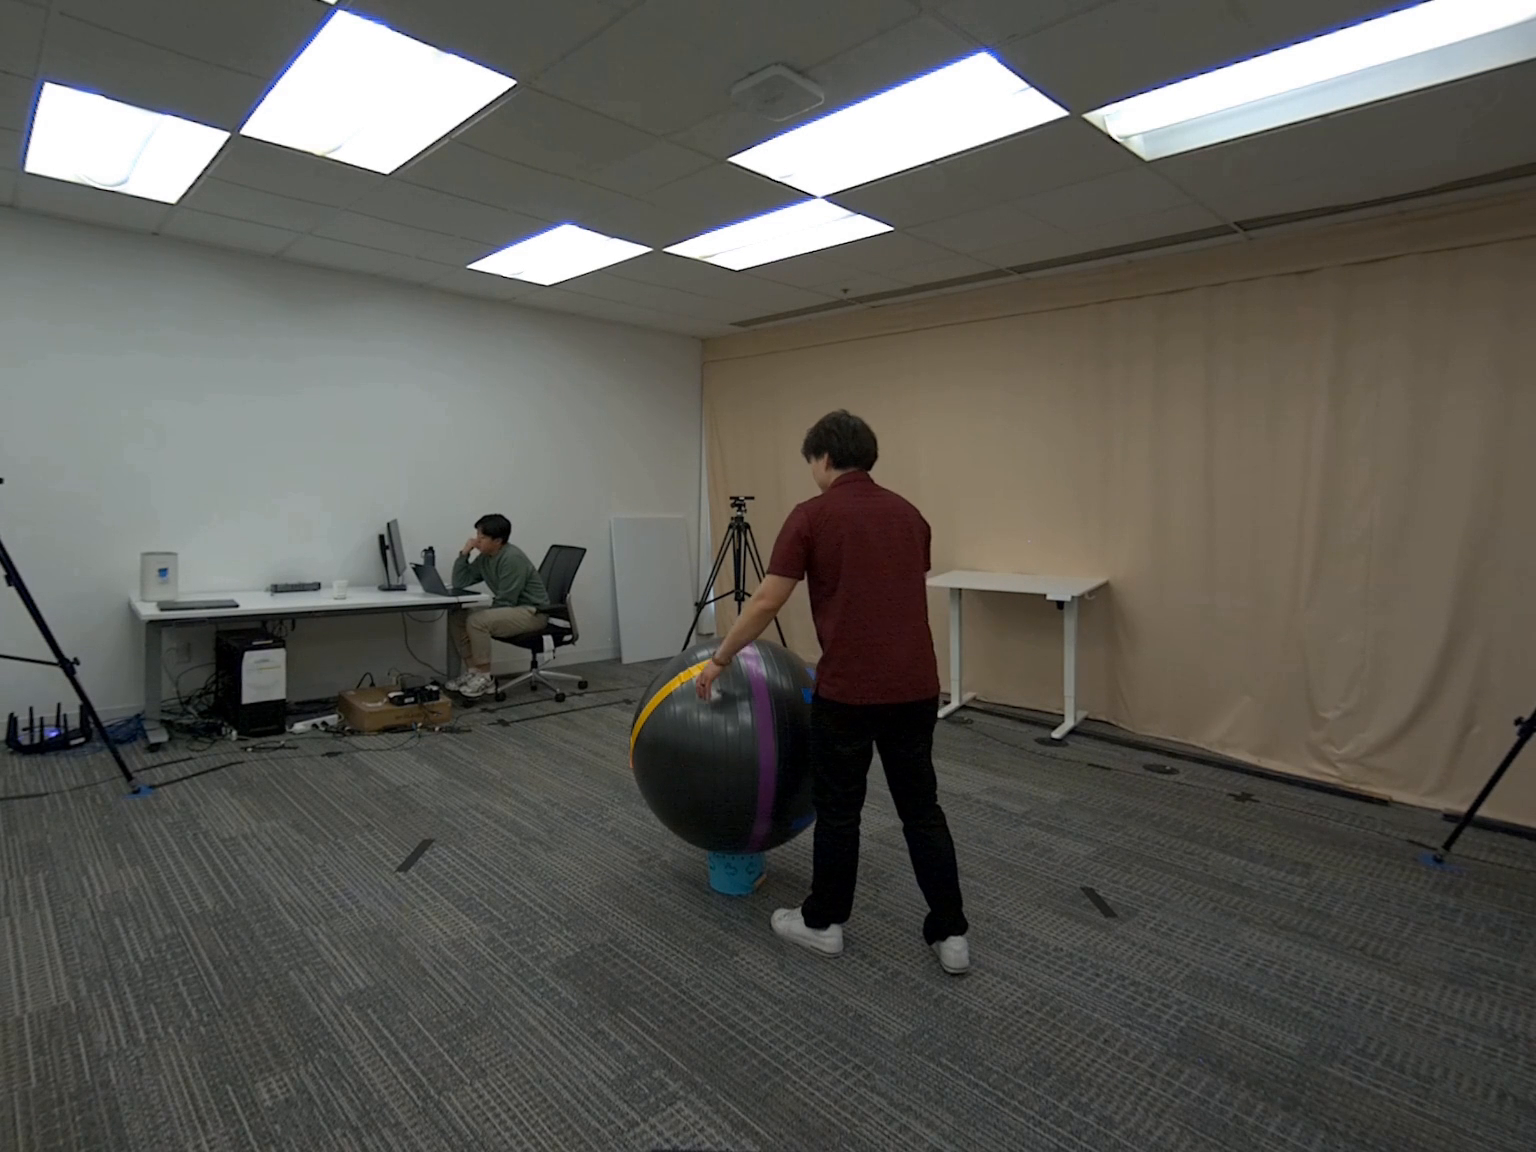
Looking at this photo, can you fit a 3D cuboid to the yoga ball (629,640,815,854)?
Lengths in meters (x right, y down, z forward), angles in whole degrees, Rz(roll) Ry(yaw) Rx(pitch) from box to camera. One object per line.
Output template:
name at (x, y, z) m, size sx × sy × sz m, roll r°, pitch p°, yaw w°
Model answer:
yoga ball at (-0.118, 0.600, 3.023) m, size 0.757 × 0.756 × 0.761 m, roll 1°, pitch 4°, yaw -1°
